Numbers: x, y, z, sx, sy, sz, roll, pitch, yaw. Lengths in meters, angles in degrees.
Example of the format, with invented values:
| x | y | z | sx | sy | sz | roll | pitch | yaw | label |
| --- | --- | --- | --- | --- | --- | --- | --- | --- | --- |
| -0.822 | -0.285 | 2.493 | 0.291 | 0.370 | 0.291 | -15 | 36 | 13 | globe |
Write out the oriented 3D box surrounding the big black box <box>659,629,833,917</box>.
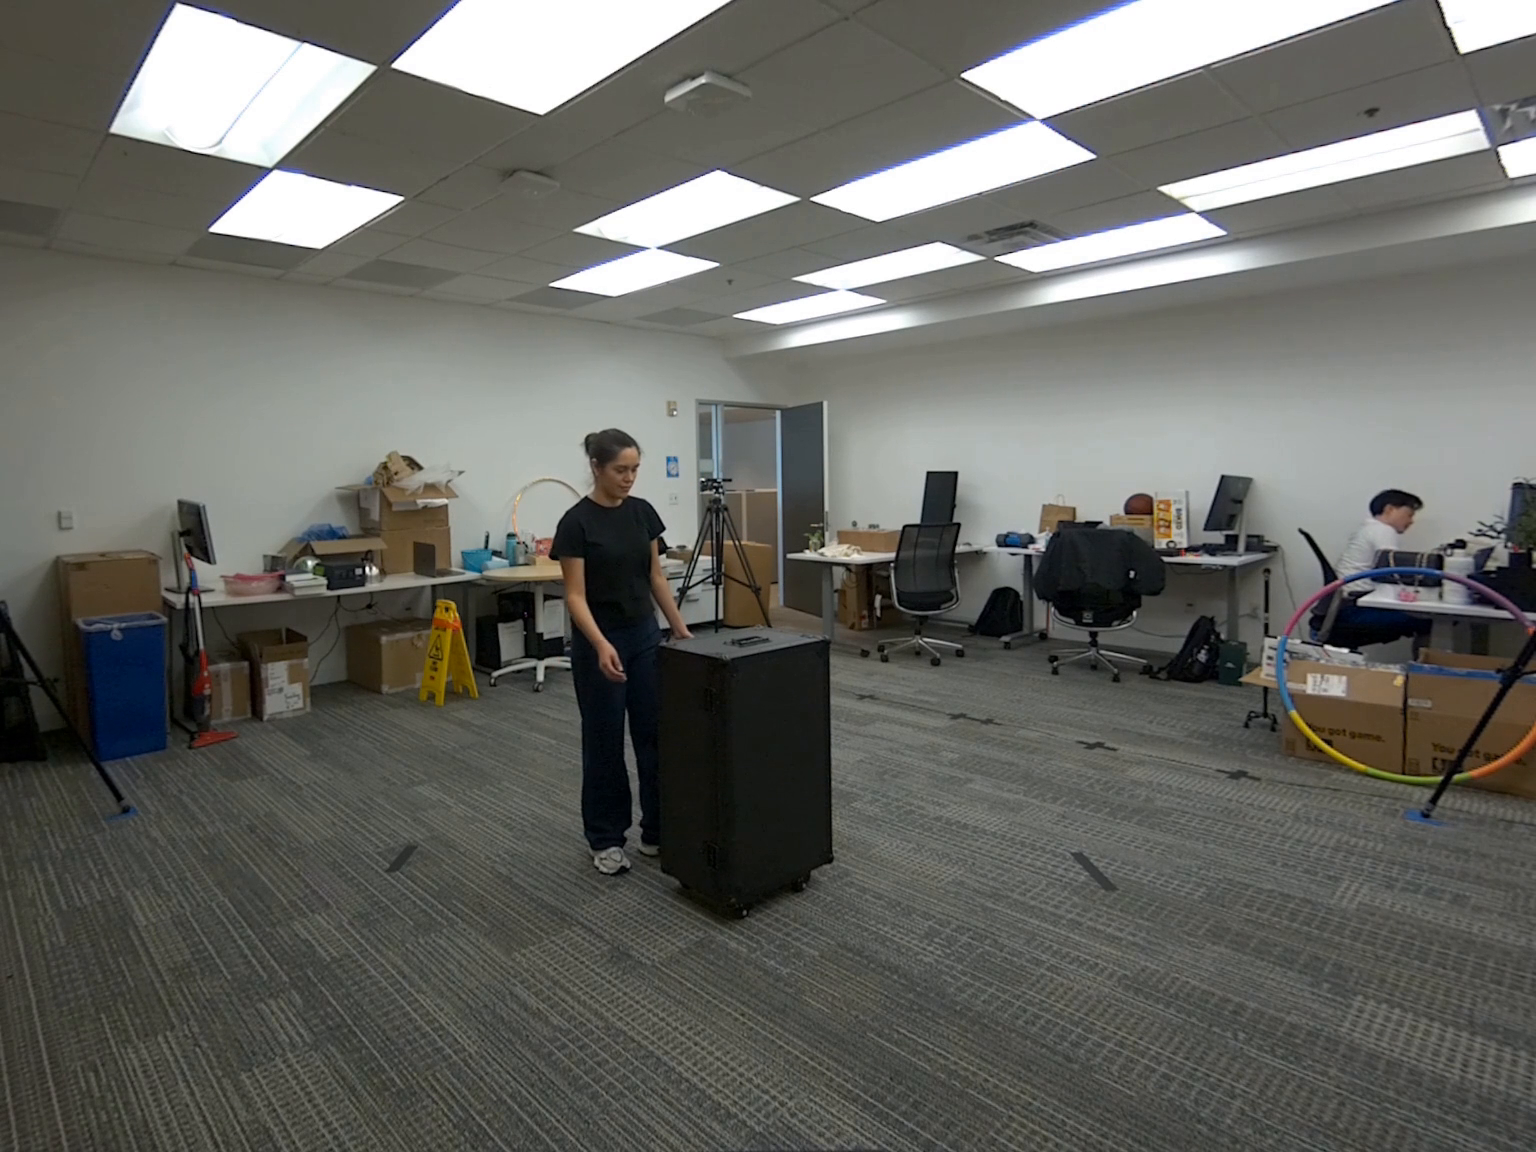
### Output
| x | y | z | sx | sy | sz | roll | pitch | yaw | label |
| --- | --- | --- | --- | --- | --- | --- | --- | --- | --- |
| -0.084 | 0.644 | 2.915 | 0.507 | 0.859 | 0.408 | -5 | 5 | -43 | big black box |
